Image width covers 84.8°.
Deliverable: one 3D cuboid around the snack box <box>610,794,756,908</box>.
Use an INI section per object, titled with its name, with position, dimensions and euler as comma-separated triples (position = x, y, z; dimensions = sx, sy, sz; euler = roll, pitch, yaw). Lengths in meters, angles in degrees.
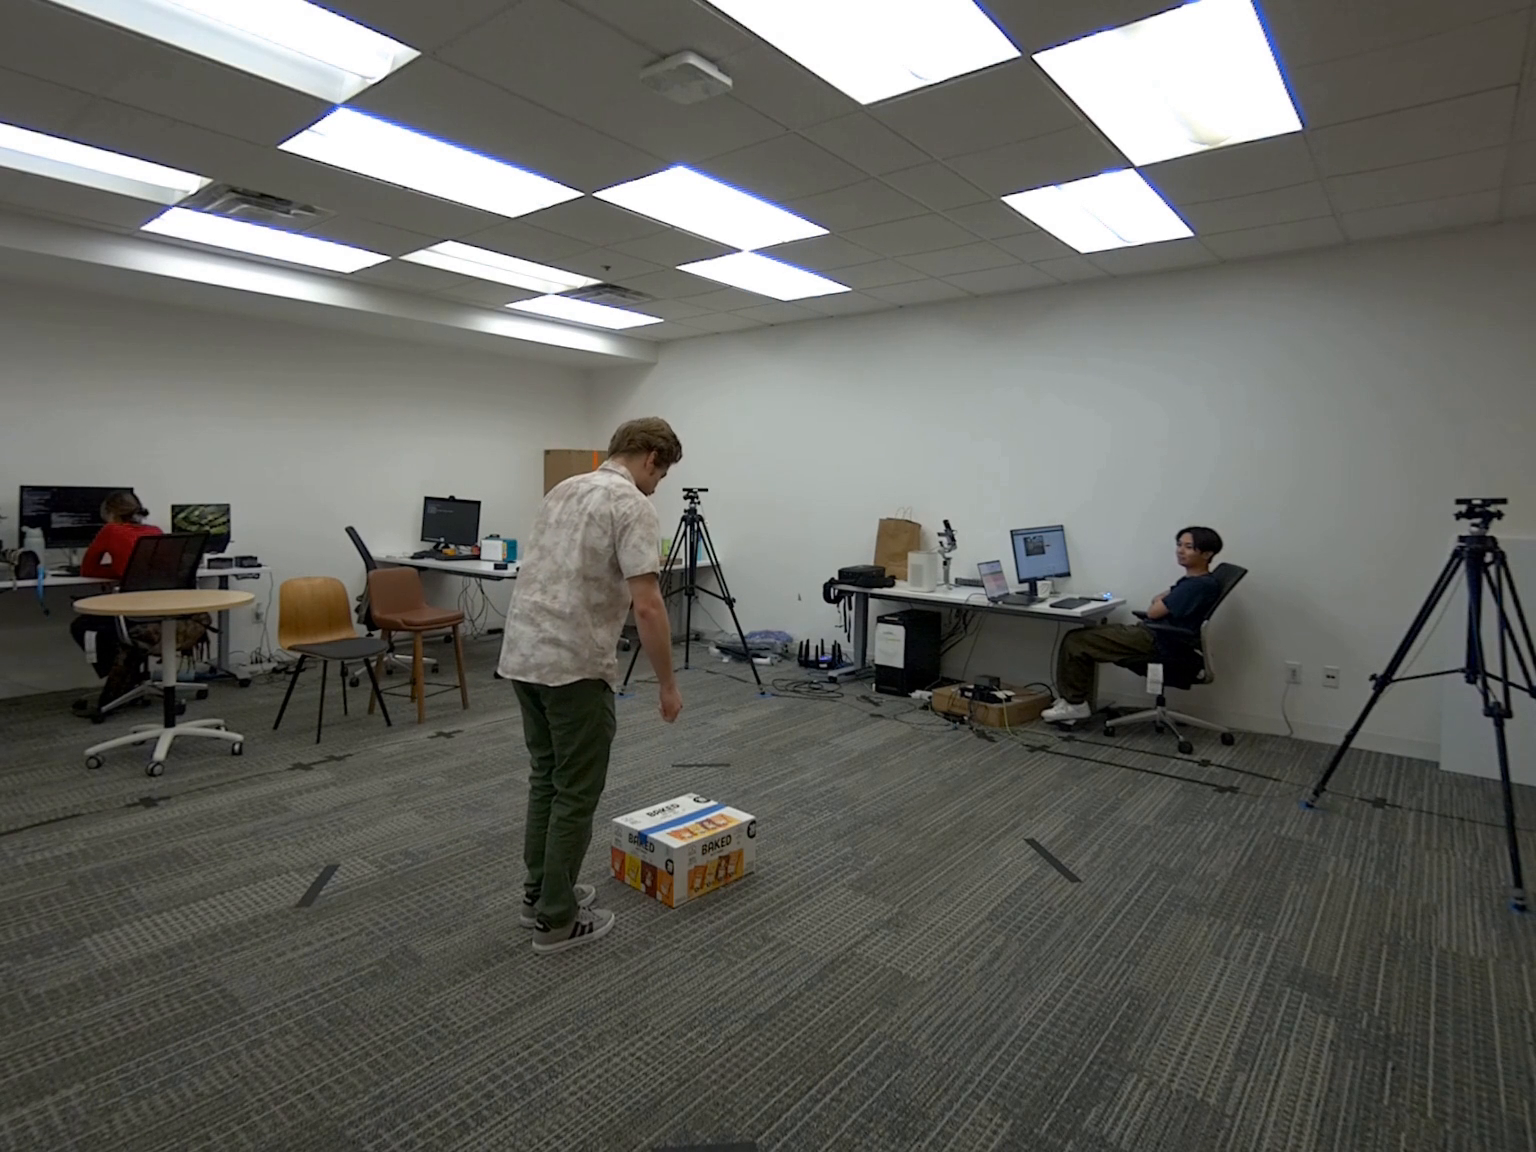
[snack box]
position = -0.311, 0.972, 3.064
dimensions = 0.352, 0.205, 0.393
euler = 6, 7, 43
